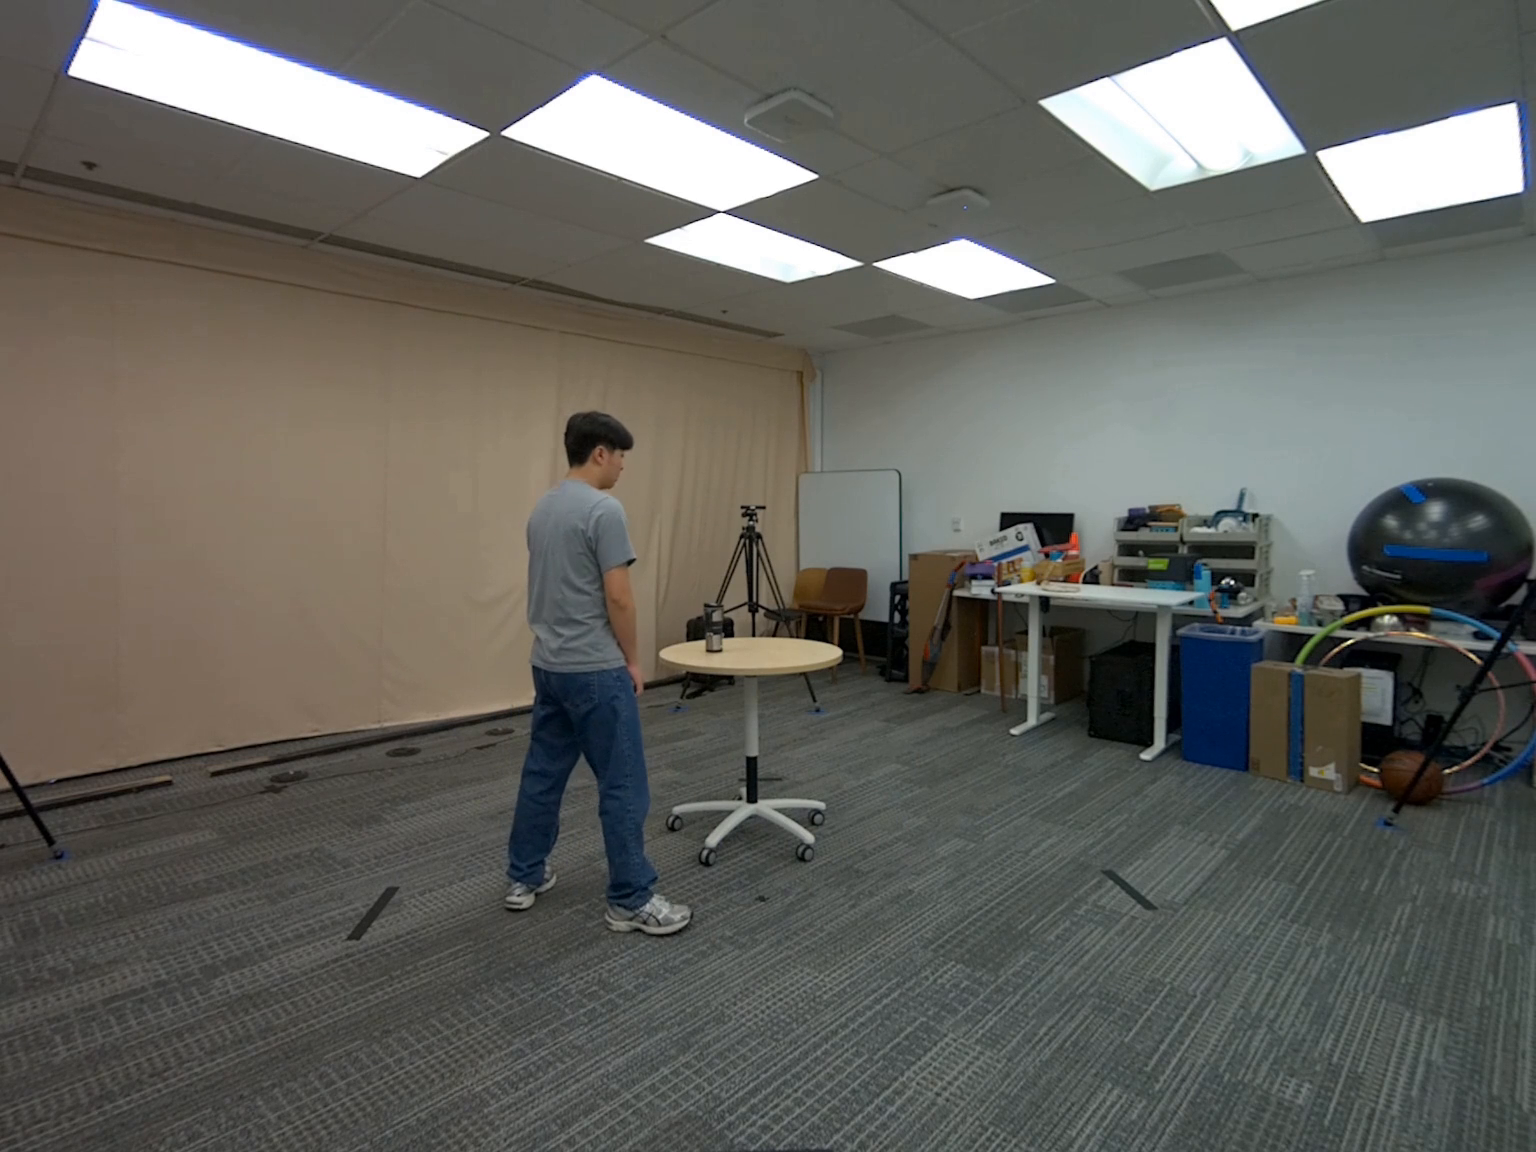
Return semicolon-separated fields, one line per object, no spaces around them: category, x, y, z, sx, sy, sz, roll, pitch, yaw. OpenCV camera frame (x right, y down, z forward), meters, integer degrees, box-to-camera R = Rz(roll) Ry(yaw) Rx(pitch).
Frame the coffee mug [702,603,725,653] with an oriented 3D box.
coffee mug;-0.243;0.220;3.527;0.091;0.203;0.118;5;3;44
